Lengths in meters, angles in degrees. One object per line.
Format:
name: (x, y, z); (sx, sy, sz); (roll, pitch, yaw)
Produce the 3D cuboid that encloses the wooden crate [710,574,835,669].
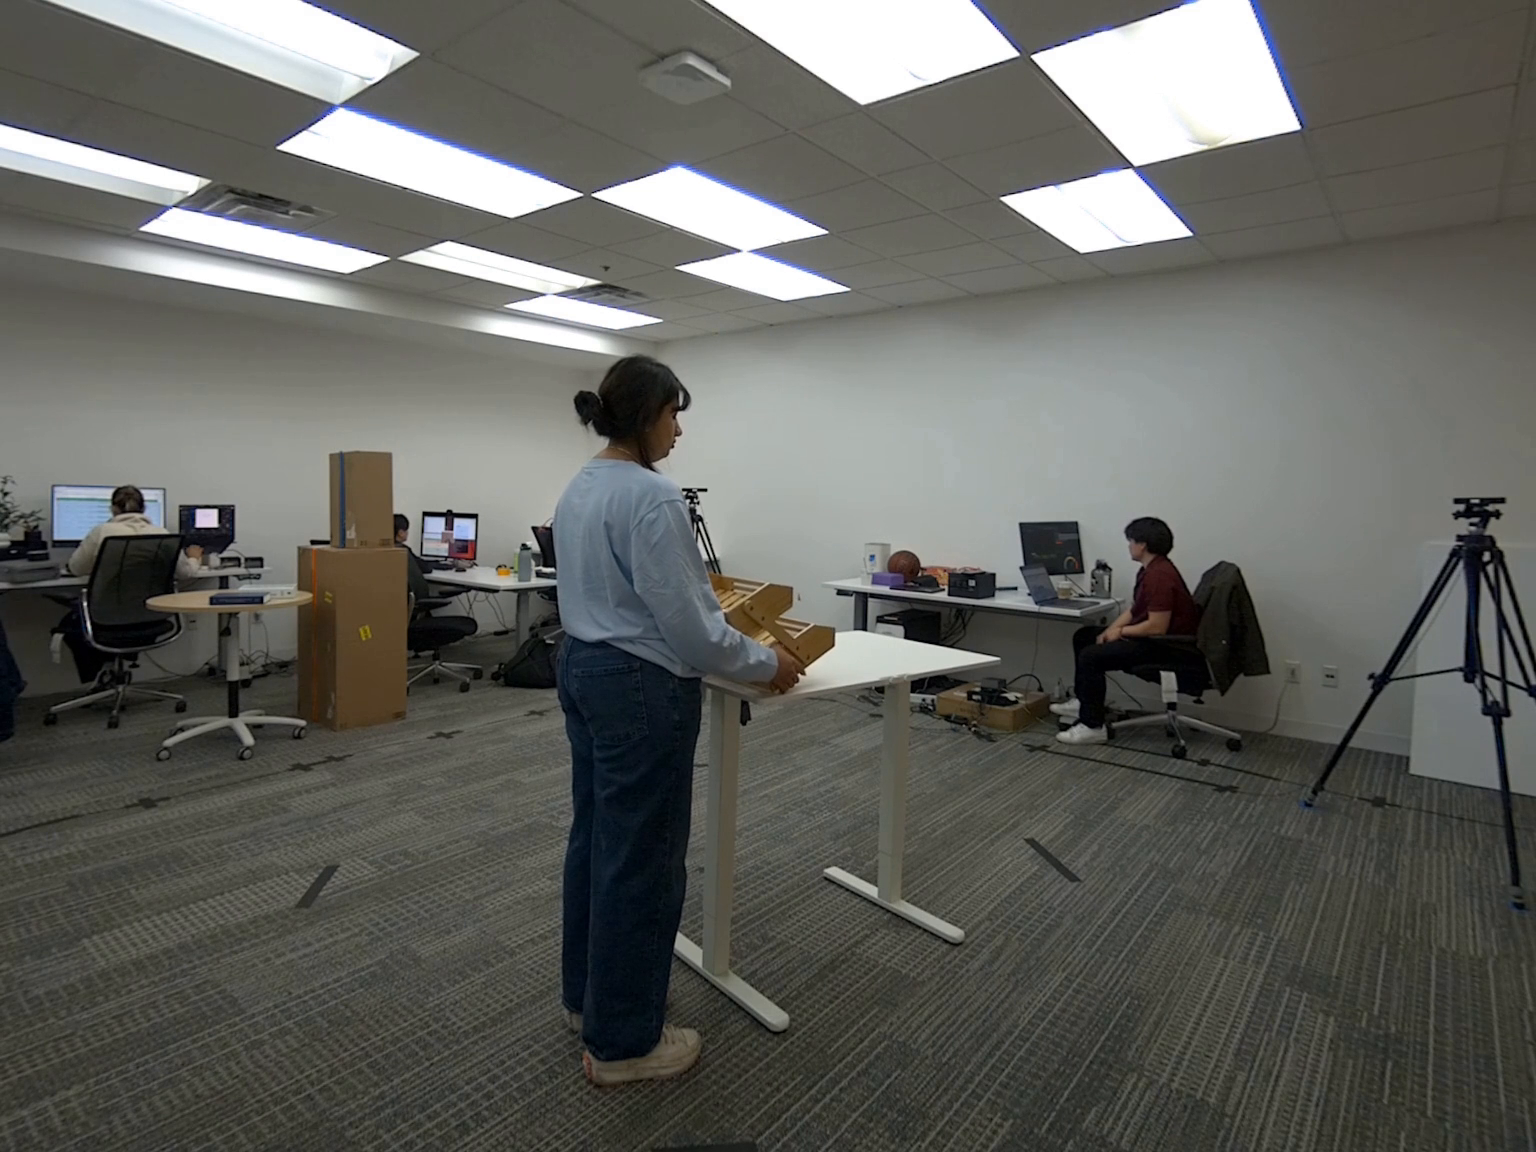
wooden crate: (-0.062, 0.112, 2.252); (0.299, 0.267, 0.335); (-32, 24, -32)
